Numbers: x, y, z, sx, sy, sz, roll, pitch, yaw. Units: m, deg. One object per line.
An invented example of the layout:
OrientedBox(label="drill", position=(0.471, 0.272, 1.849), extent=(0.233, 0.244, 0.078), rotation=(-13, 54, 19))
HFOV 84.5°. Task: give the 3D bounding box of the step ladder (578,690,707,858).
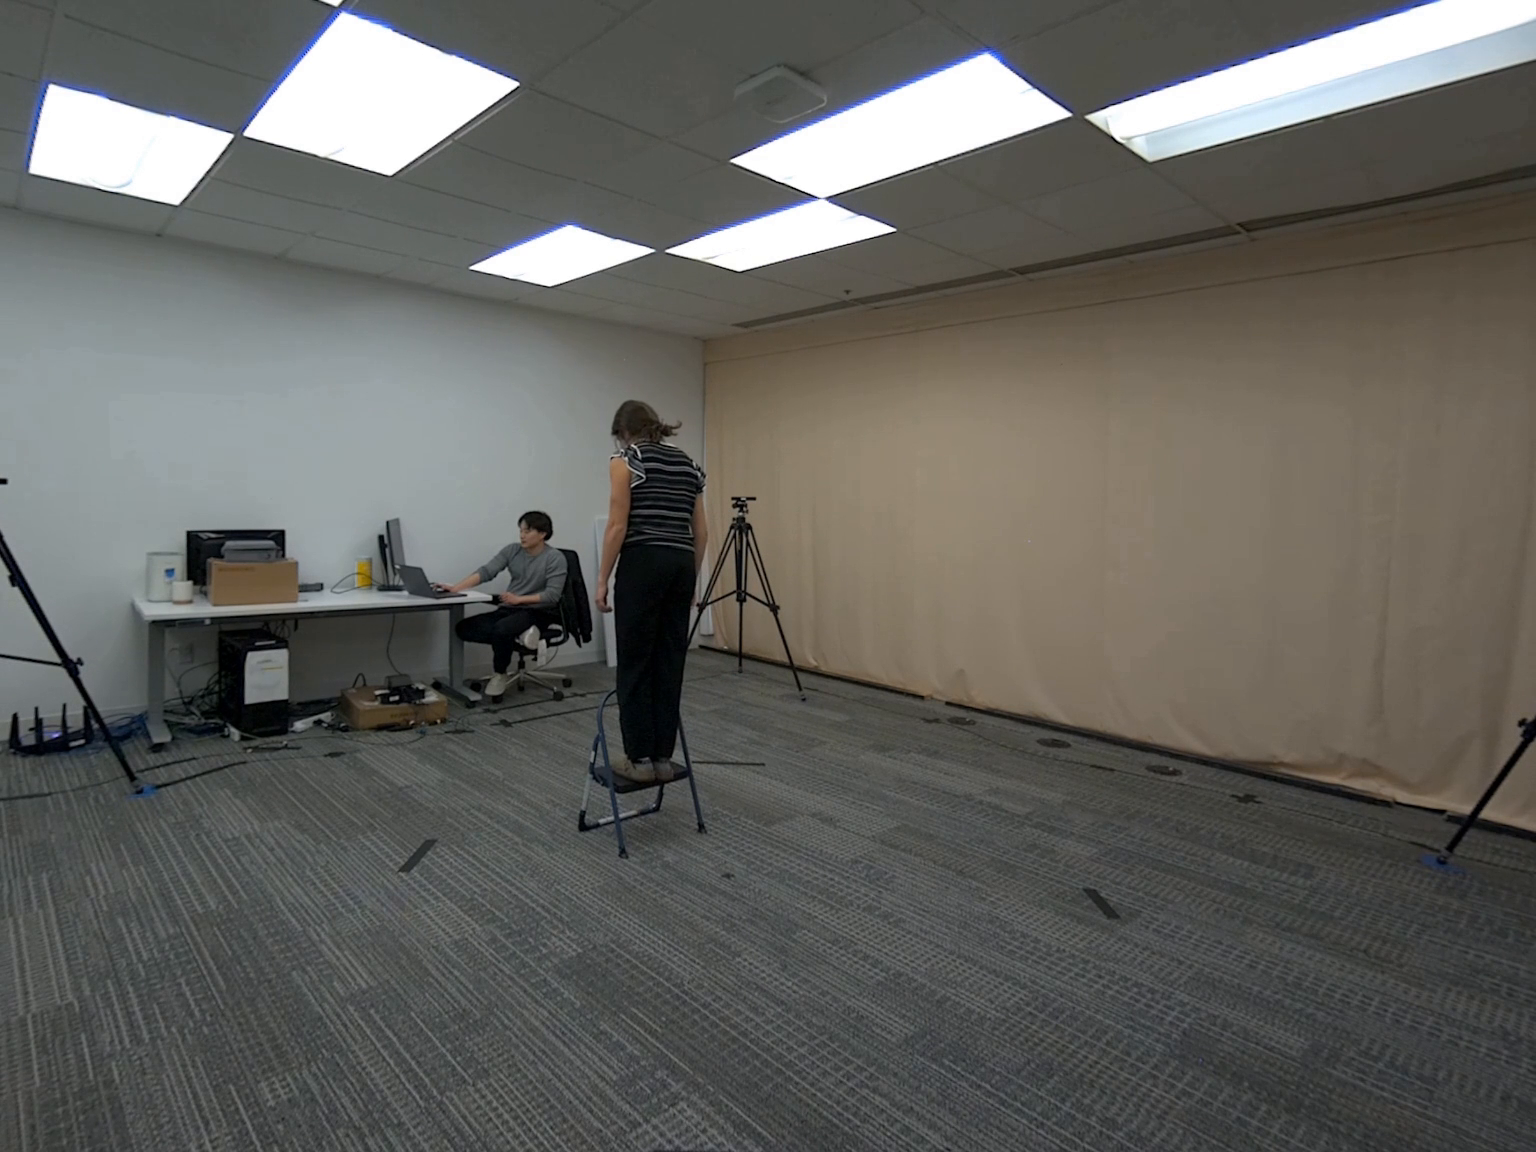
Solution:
OrientedBox(label="step ladder", position=(-0.523, 0.763, 3.486), extent=(0.421, 0.605, 0.358), rotation=(-2, 5, -44))
